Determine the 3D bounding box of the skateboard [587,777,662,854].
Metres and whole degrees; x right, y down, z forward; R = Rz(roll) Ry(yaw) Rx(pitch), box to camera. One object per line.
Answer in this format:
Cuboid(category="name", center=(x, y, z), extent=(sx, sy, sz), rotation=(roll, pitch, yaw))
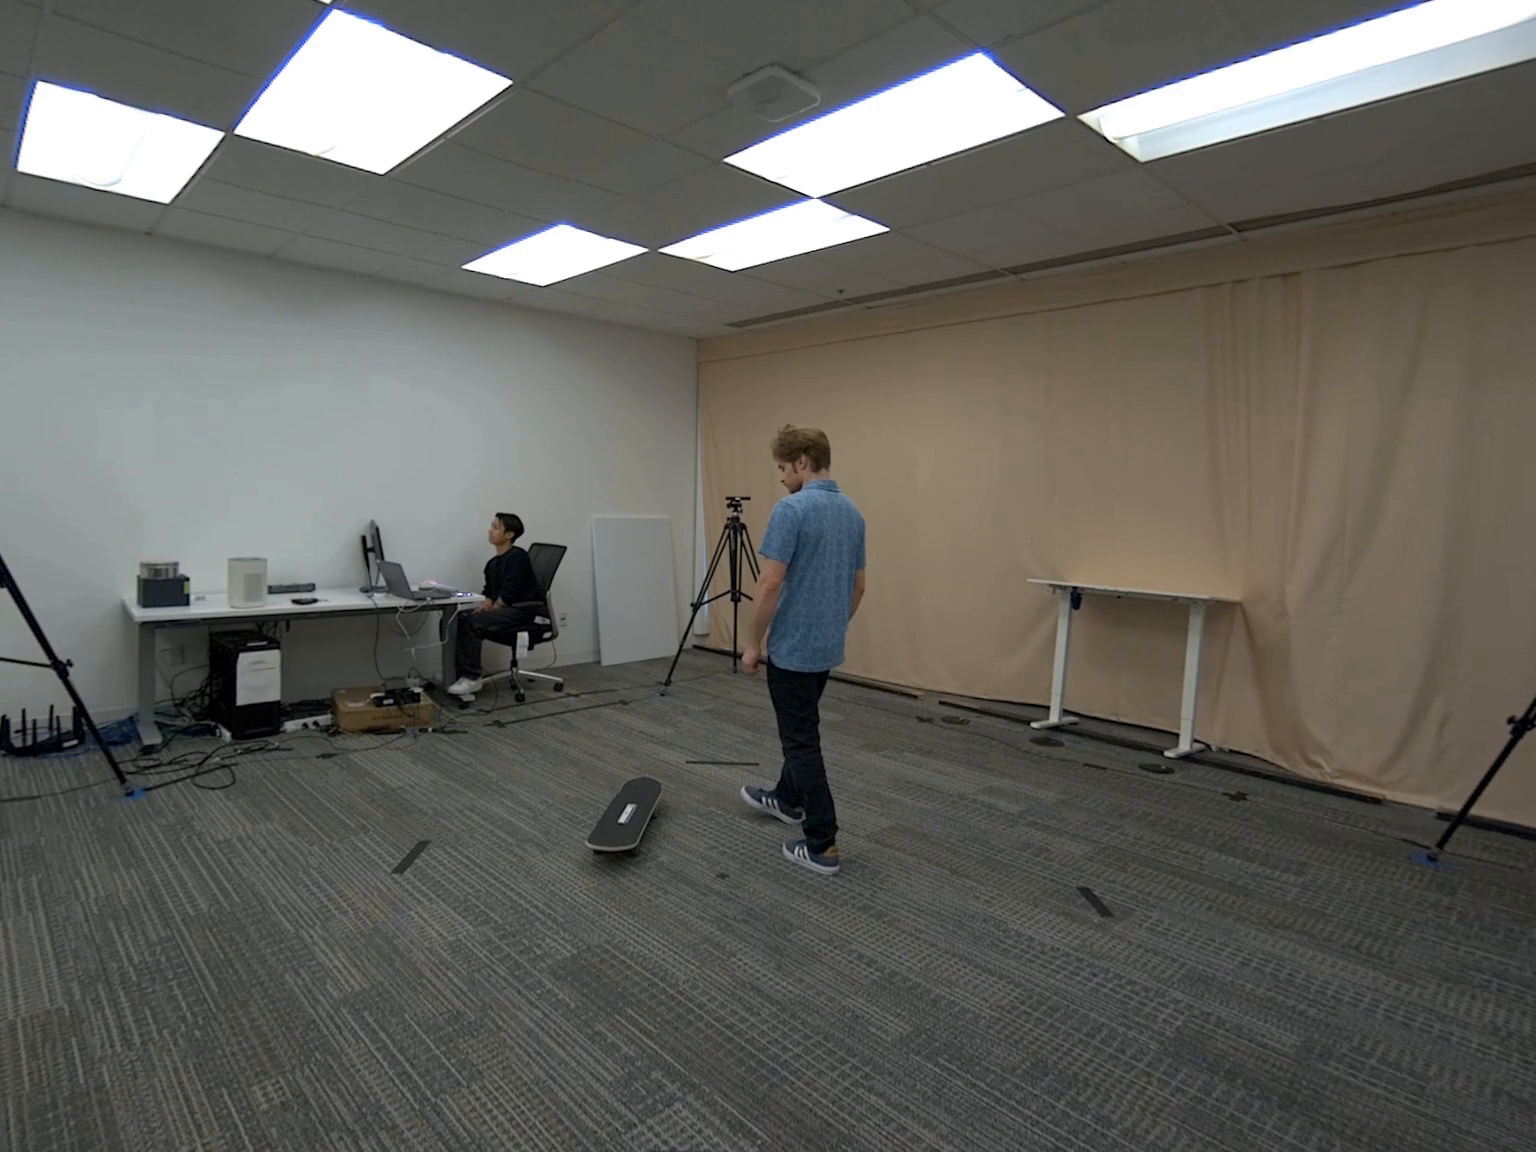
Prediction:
Cuboid(category="skateboard", center=(-0.586, 1.008, 3.465), extent=(0.194, 0.110, 0.785), rotation=(1, 5, 2))
